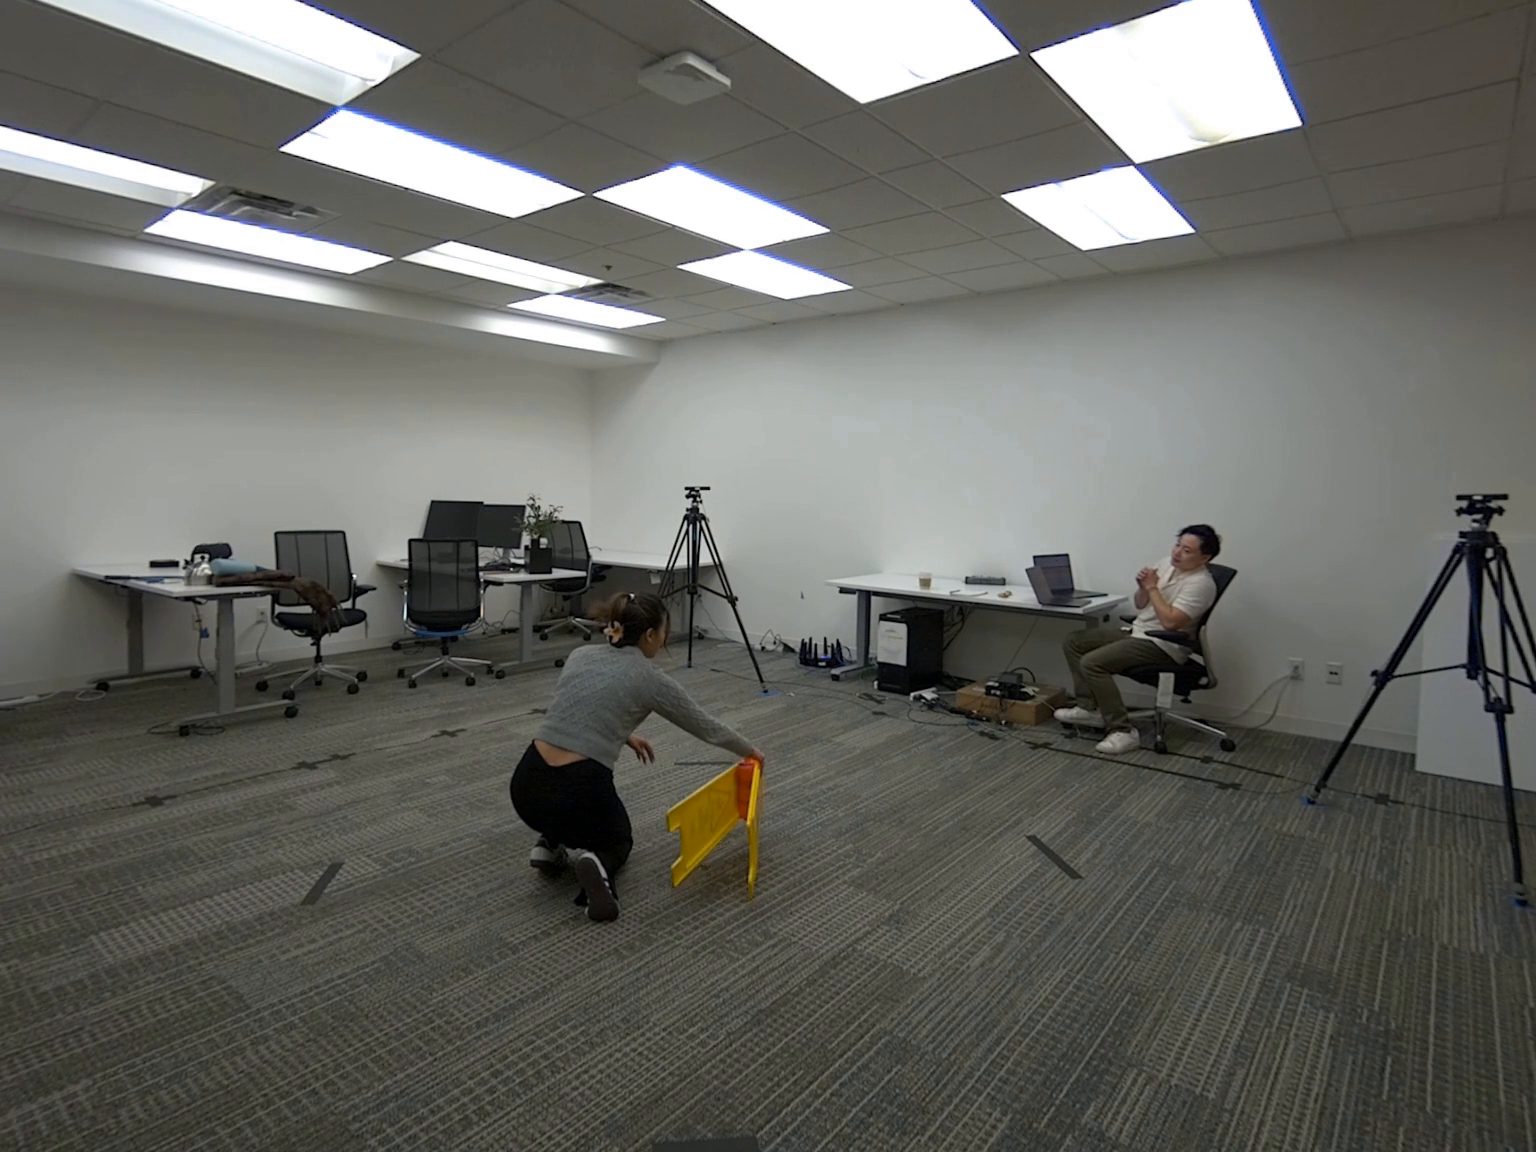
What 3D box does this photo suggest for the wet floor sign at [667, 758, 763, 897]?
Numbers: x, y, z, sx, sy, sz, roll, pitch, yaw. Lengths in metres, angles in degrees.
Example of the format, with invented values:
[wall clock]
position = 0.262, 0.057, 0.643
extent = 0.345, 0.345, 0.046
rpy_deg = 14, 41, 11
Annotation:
[wet floor sign]
position = -0.124, 0.881, 3.182
extent = 0.295, 0.279, 0.641
rpy_deg = 1, 13, 17
